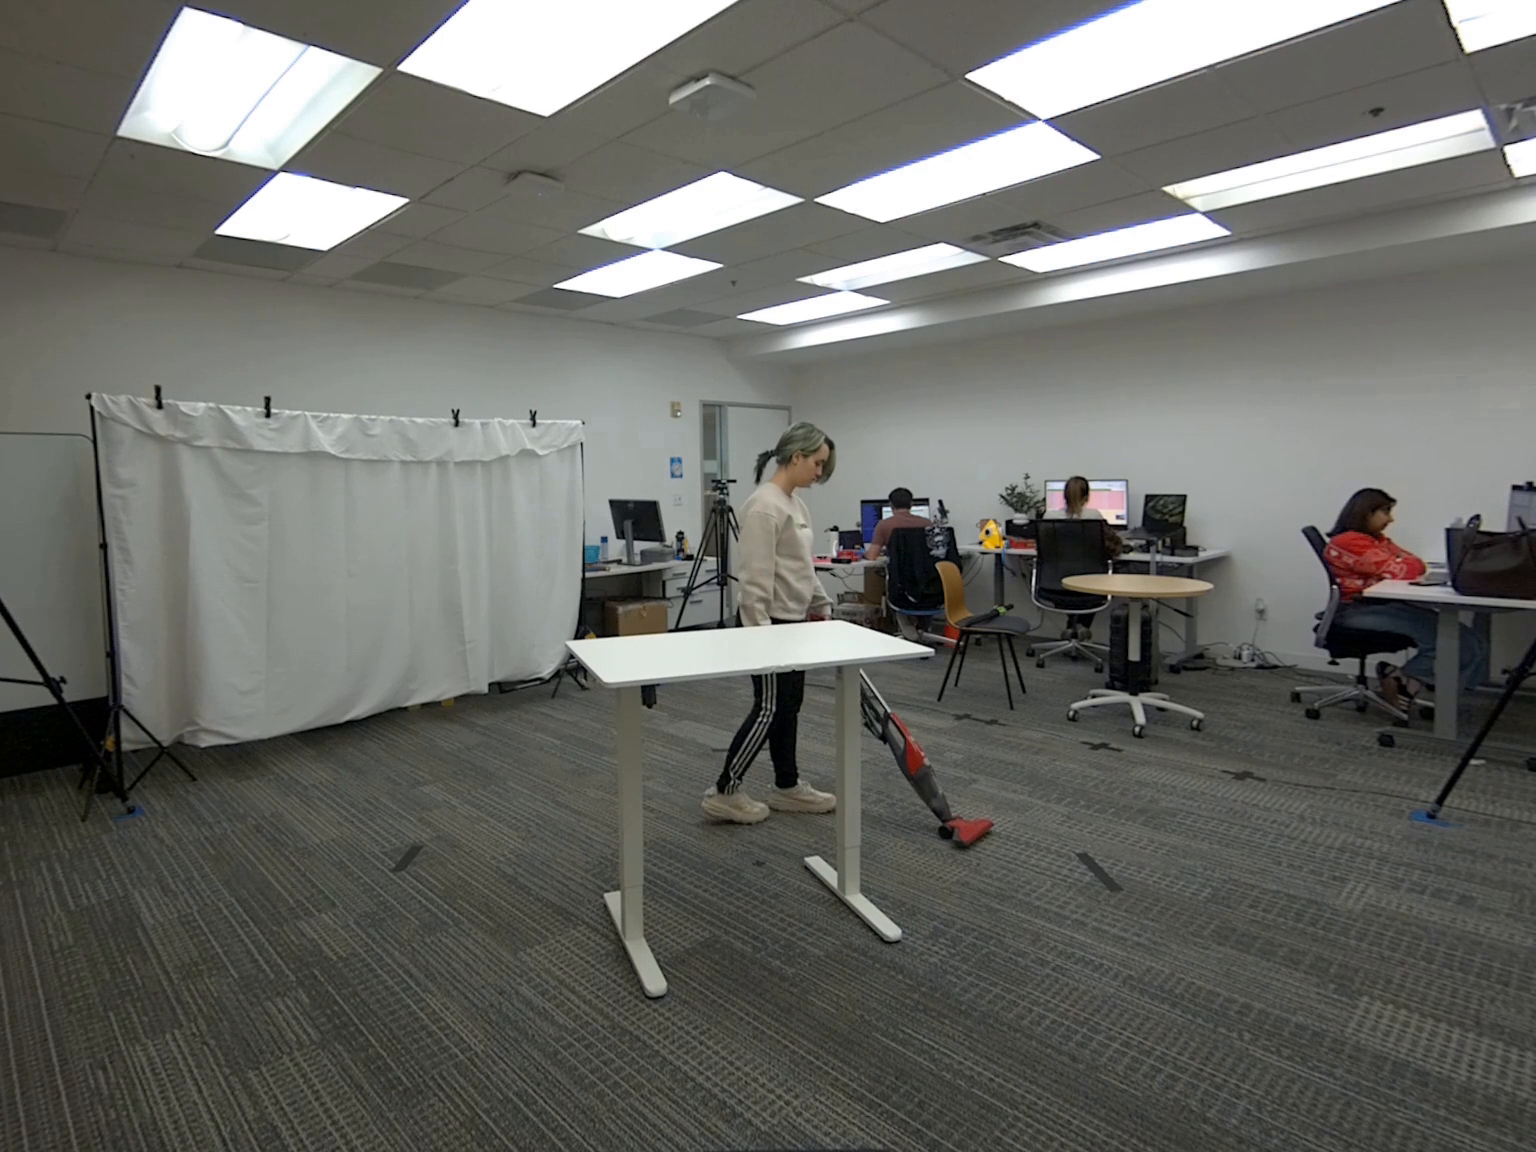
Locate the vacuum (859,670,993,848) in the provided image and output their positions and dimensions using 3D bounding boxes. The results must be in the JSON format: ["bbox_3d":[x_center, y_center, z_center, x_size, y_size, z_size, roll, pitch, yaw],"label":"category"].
[{"bbox_3d":[0.488,0.594,3.511,0.144,1.080,0.245,-47,-27,26],"label":"vacuum"}]
